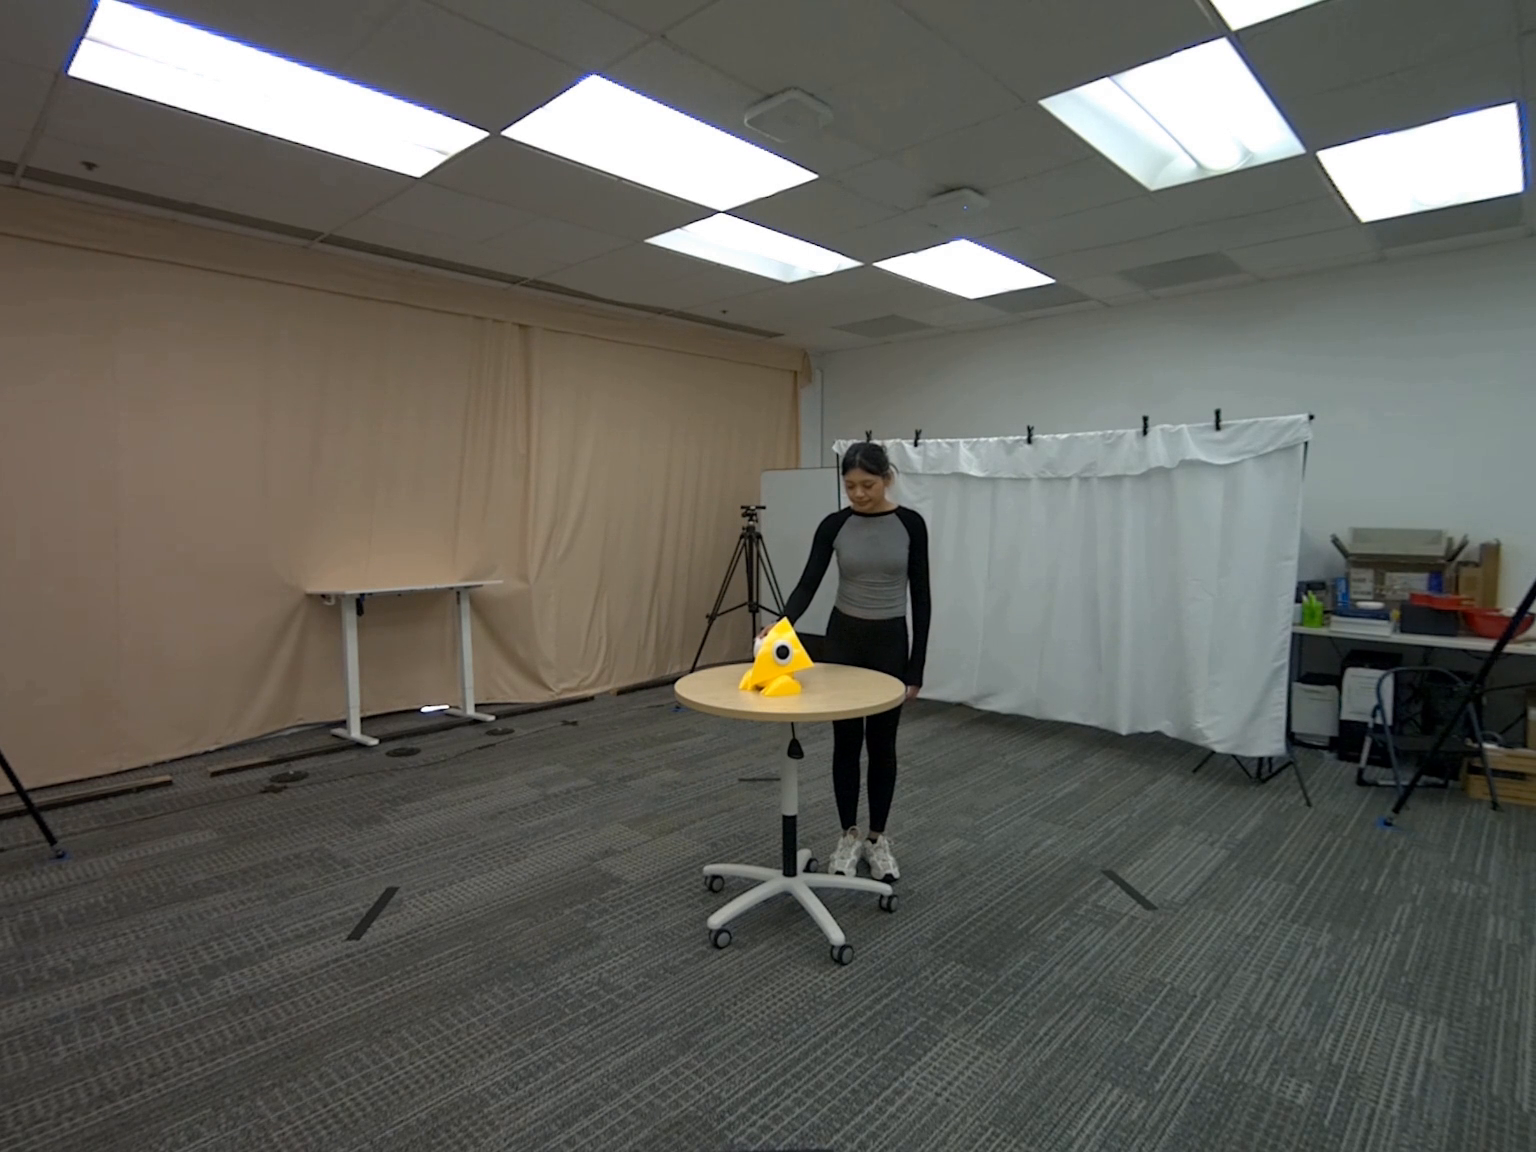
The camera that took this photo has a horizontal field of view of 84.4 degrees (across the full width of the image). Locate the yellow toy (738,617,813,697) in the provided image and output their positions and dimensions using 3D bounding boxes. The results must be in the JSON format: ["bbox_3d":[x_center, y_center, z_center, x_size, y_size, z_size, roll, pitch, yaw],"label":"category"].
[{"bbox_3d":[0.021,0.257,2.751,0.187,0.230,0.211,-4,6,-40],"label":"yellow toy"}]
